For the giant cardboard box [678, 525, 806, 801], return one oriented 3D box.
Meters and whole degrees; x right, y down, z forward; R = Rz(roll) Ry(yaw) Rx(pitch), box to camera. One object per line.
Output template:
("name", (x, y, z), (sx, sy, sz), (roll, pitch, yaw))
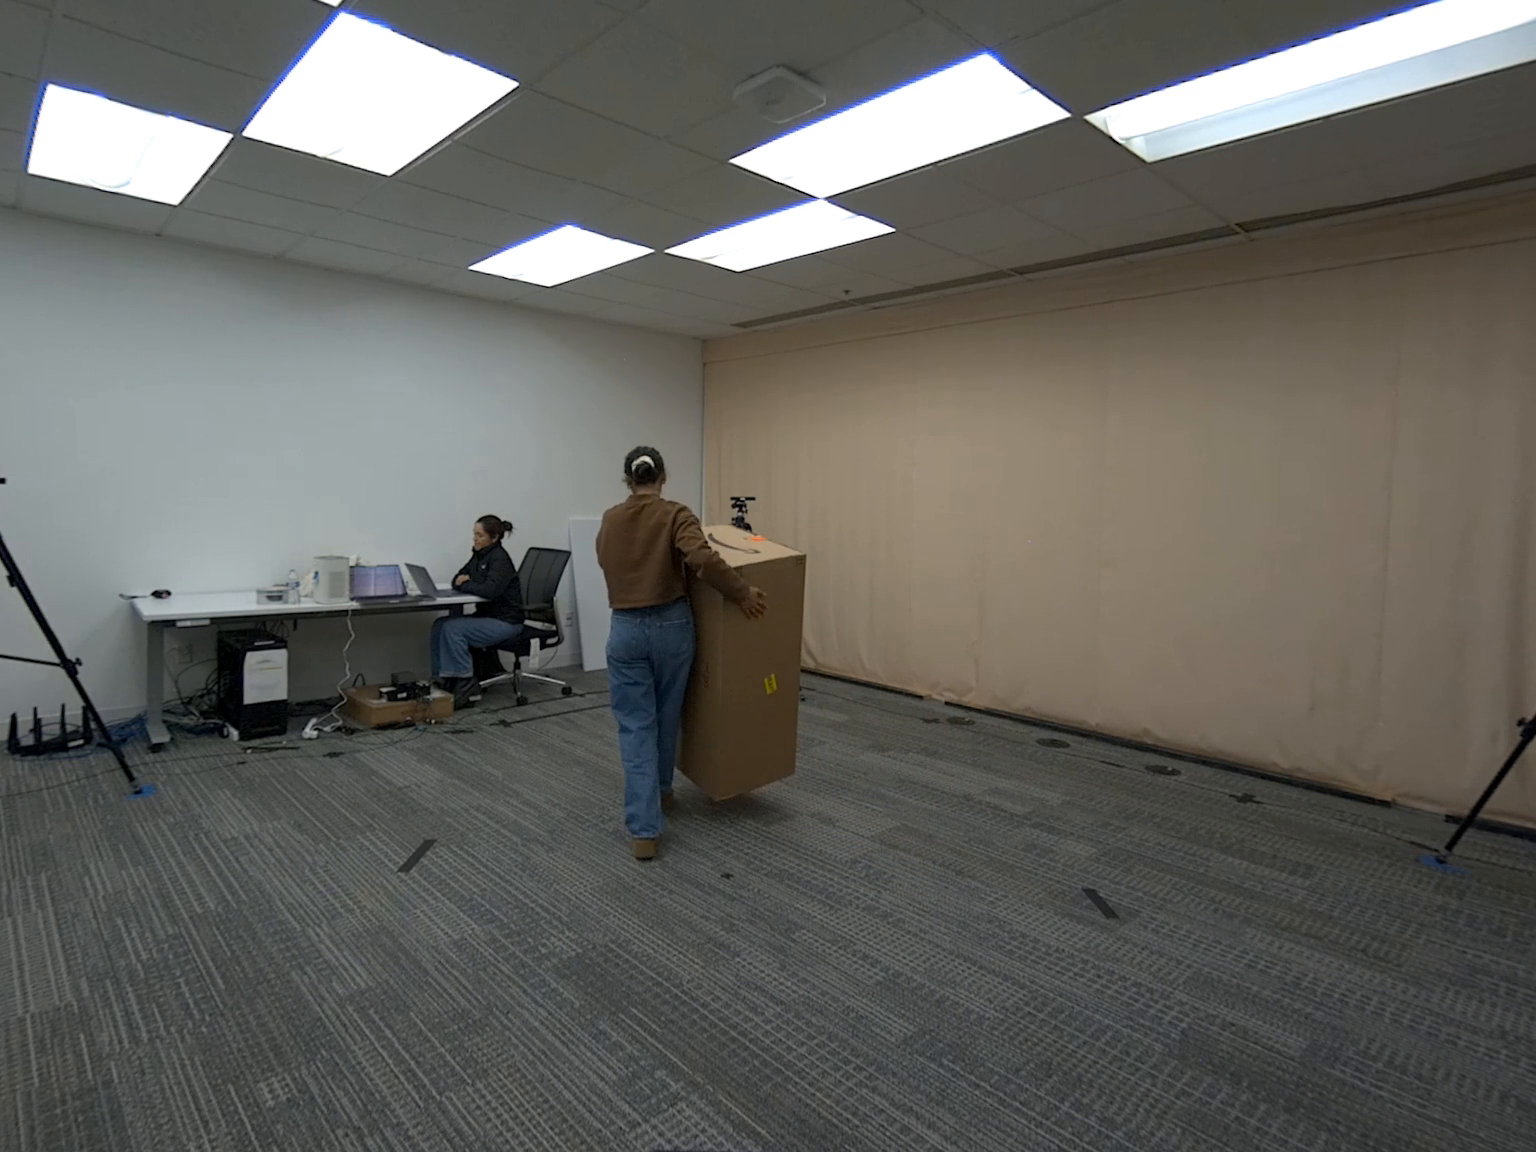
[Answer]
("giant cardboard box", (-0.194, 0.355, 3.722), (0.418, 1.015, 0.595), (-9, 19, -36))
